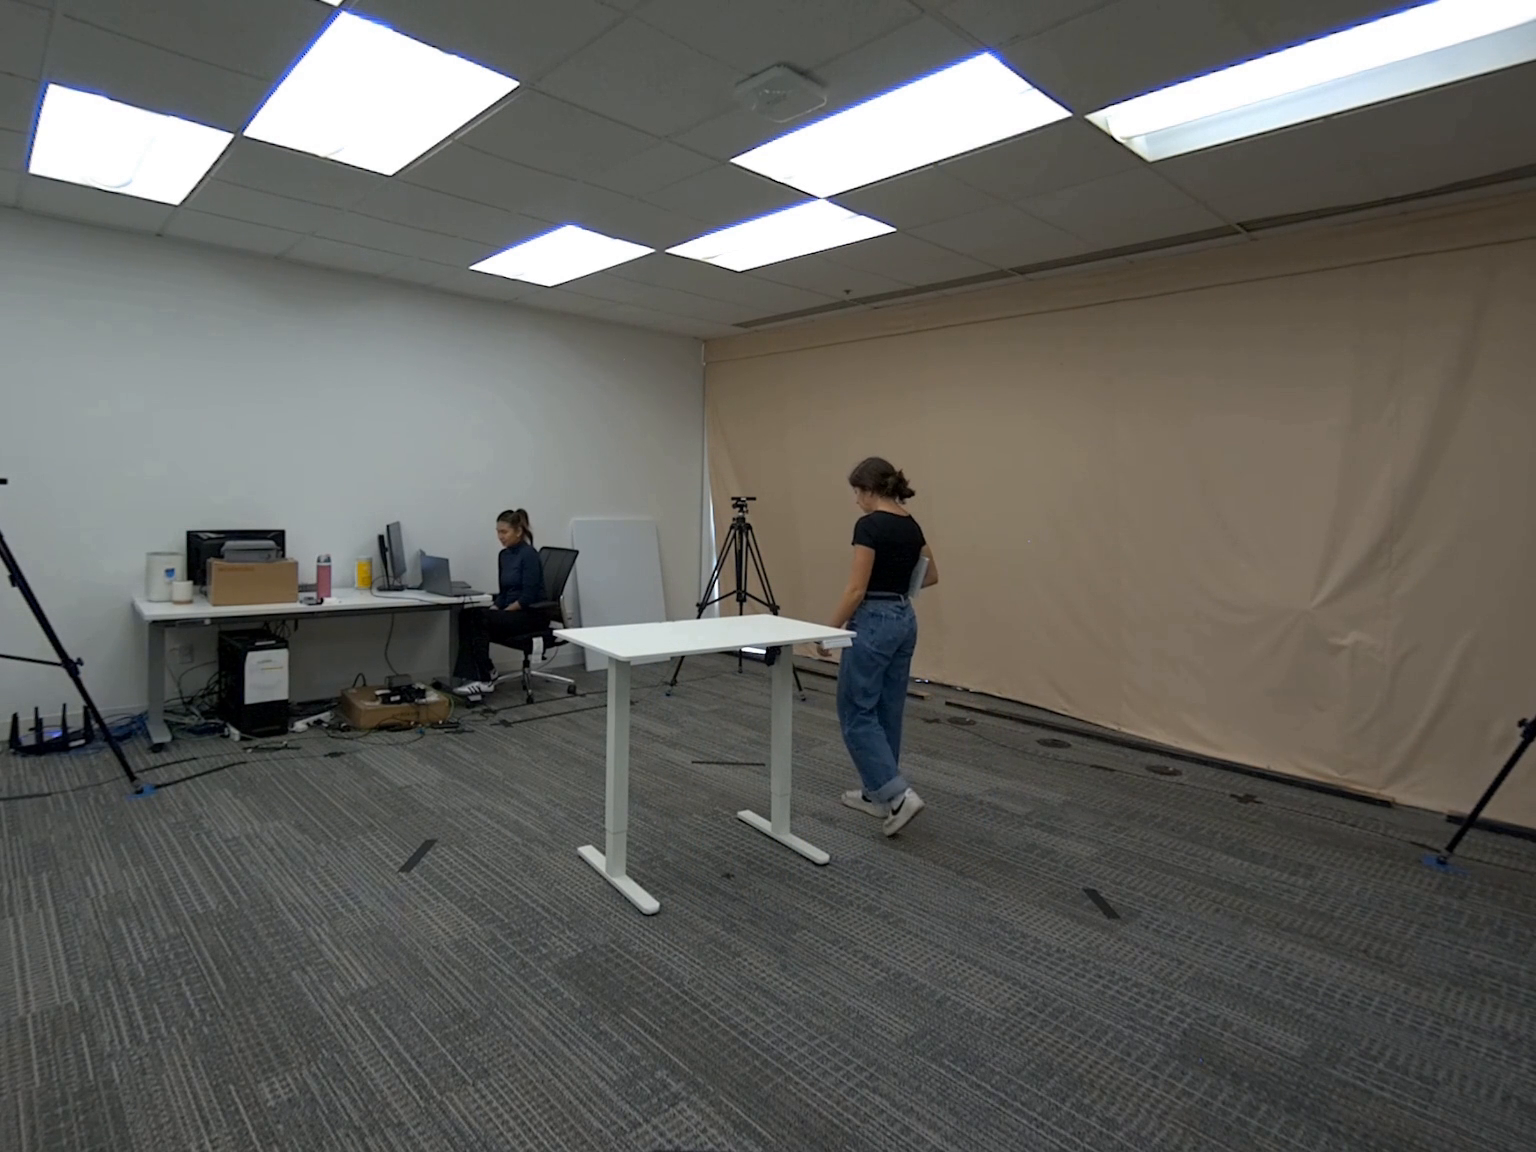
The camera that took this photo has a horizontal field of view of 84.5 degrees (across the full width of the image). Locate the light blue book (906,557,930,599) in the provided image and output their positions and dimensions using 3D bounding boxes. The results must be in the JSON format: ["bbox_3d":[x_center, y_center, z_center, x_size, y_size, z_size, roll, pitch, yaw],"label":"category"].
[{"bbox_3d":[0.568,-0.035,3.818,0.267,0.190,0.058,22,14,27],"label":"light blue book"}]
